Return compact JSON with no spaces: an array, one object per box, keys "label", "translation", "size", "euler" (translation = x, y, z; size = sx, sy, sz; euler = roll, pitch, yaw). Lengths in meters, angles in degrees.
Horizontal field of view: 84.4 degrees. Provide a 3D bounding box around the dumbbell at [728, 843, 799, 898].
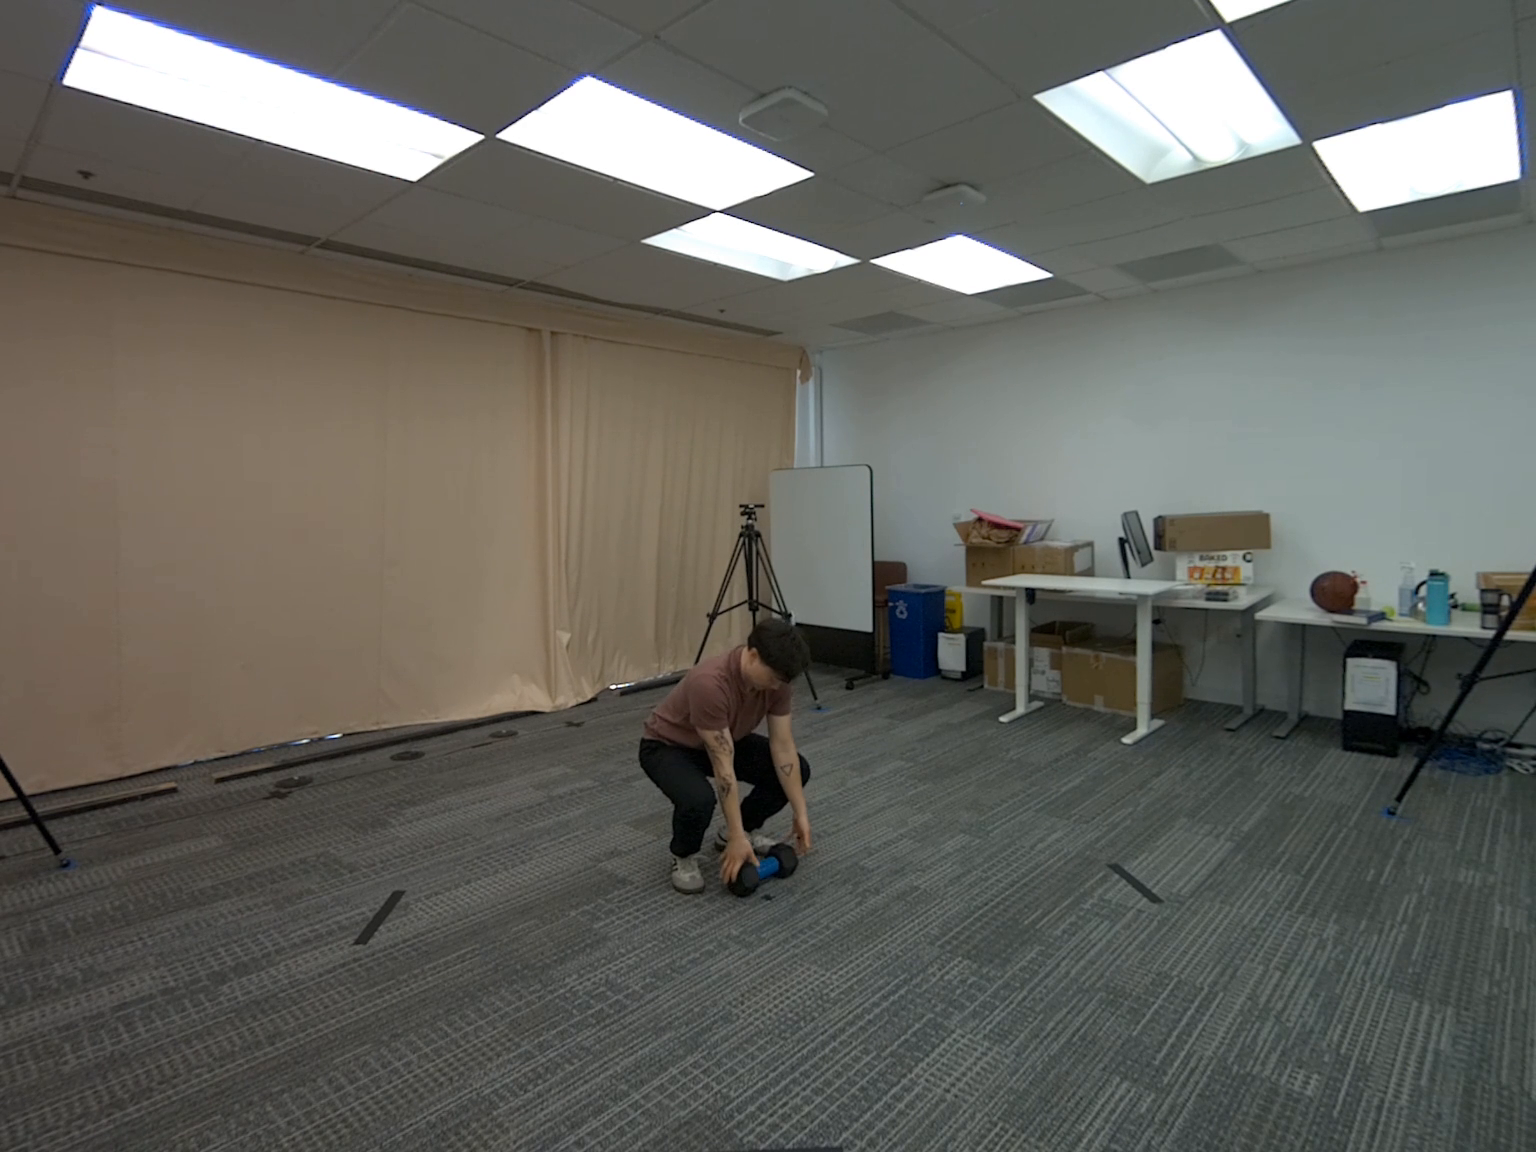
[{"label":"dumbbell","translation":[-0.024,1.073,3.087],"size":[0.284,0.125,0.110],"euler":[-5,-23,-45]}]
